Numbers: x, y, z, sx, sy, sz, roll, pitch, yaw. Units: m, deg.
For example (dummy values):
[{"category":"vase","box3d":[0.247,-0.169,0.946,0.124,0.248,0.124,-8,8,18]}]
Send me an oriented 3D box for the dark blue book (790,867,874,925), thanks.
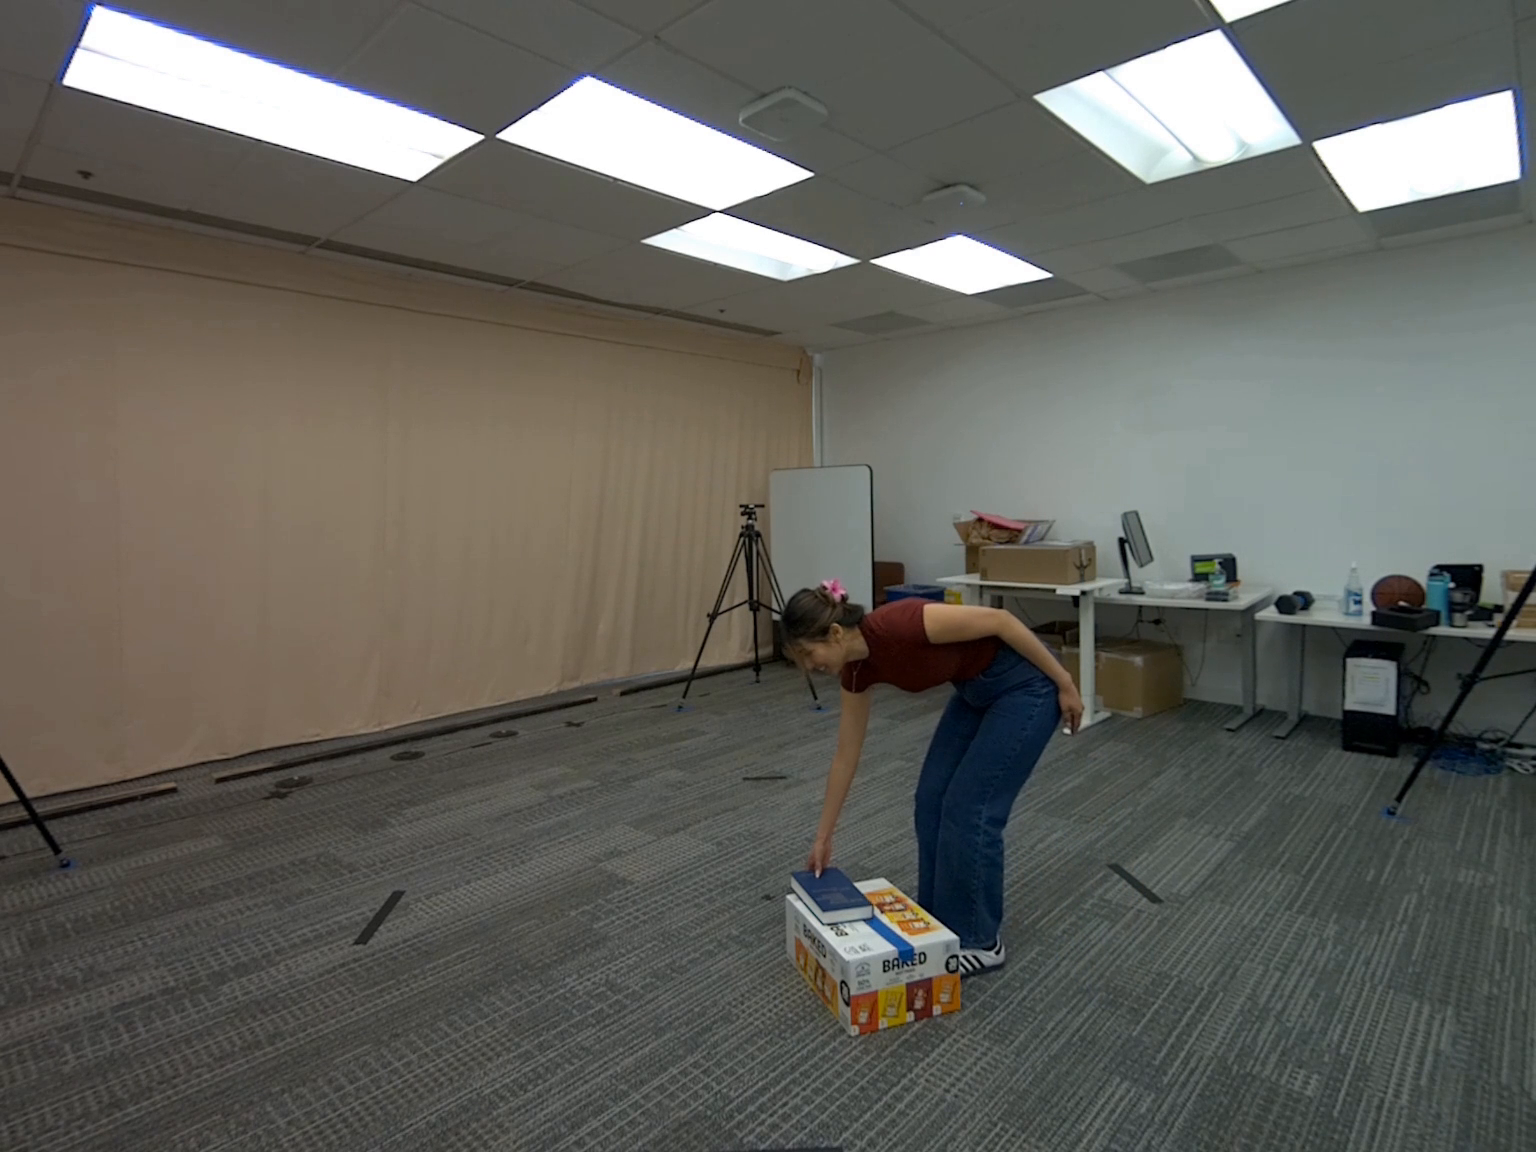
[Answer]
[{"category":"dark blue book","box3d":[0.197,0.966,2.501,0.160,0.045,0.251,0,5,-20]}]
